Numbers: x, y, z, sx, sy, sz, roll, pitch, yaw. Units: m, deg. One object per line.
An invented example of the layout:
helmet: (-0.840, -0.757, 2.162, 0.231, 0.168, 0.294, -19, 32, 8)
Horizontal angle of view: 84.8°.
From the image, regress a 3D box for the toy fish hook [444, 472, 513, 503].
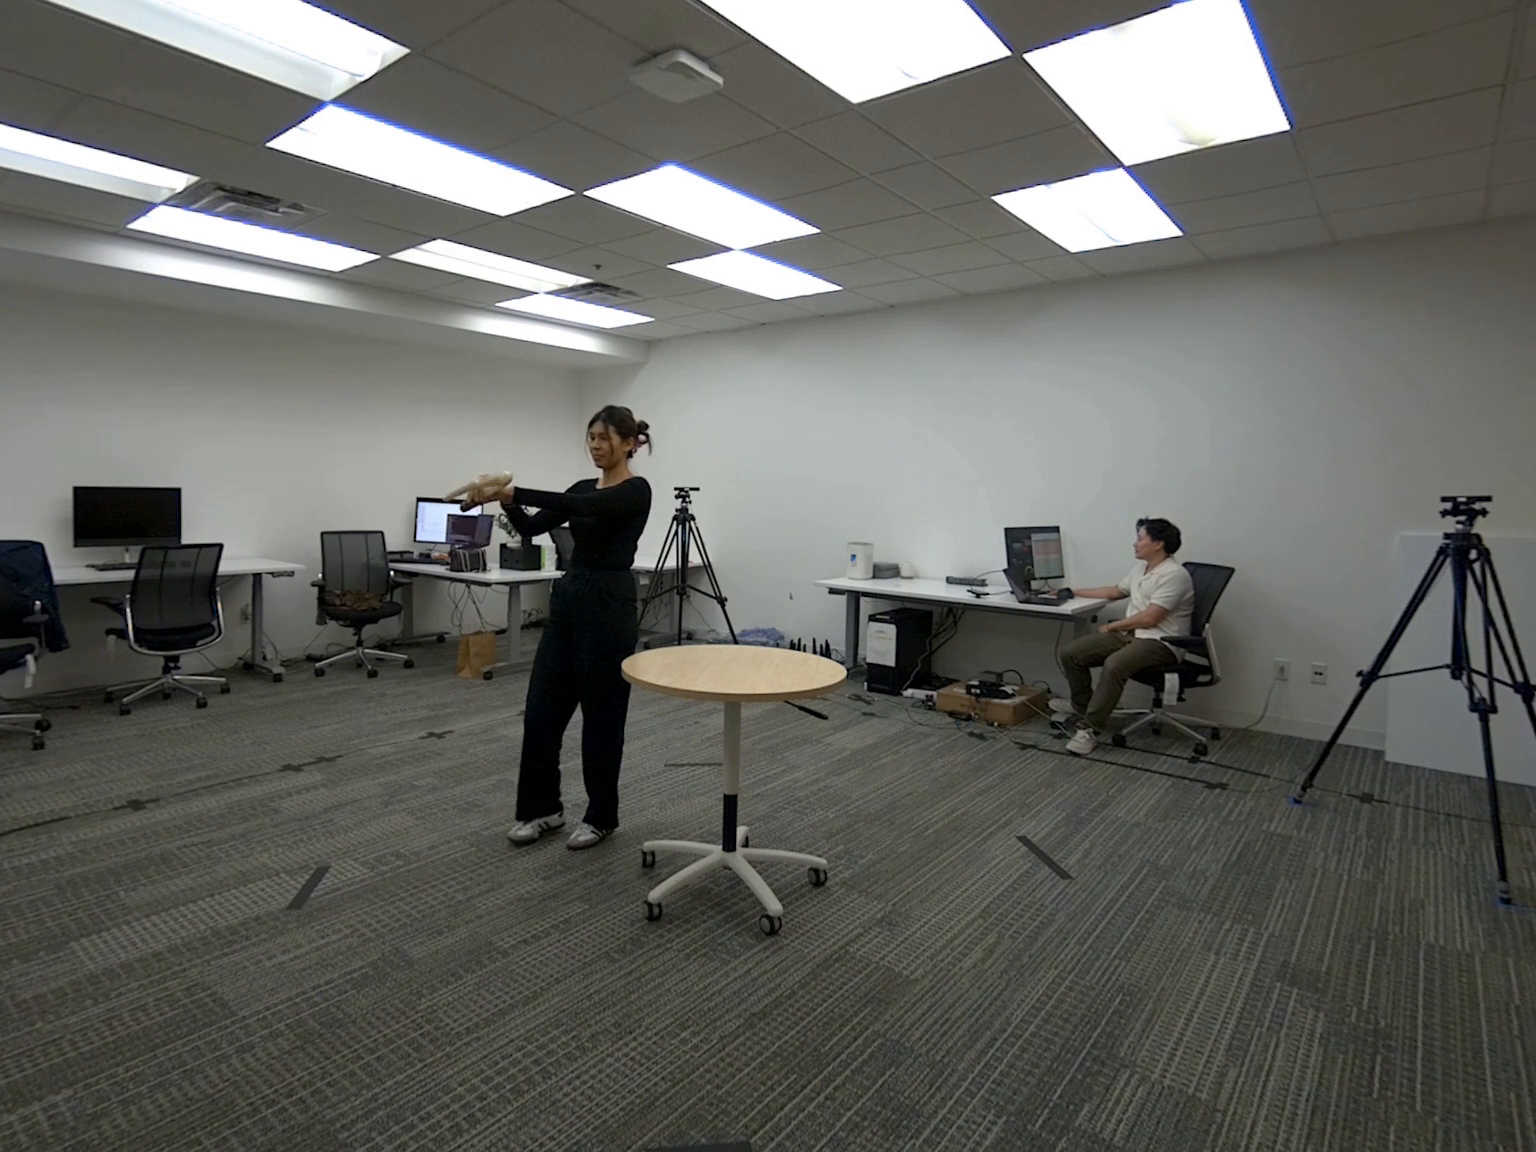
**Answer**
toy fish hook: (-1.044, -0.284, 2.925, 0.221, 0.048, 0.514, -17, 0, -25)
